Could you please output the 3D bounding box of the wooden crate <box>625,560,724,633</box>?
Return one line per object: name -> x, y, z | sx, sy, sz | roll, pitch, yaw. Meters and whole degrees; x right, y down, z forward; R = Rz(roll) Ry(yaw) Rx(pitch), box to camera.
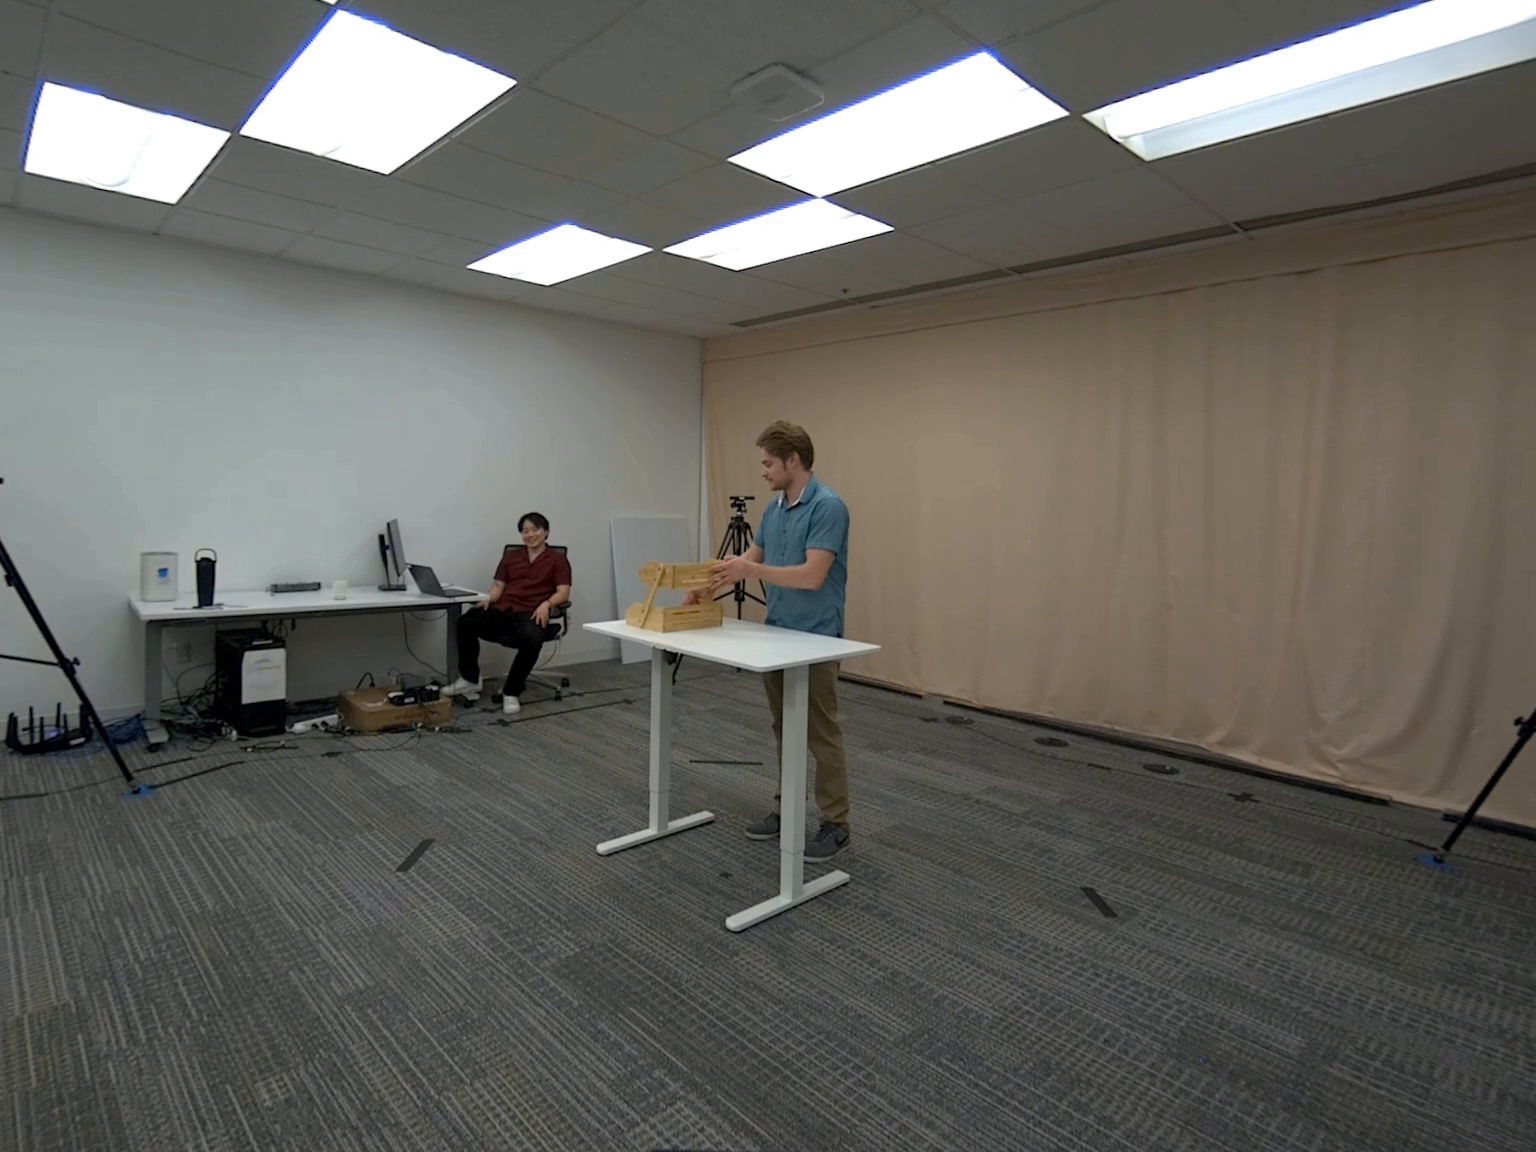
wooden crate -> -0.361, 0.065, 3.301 | 0.317, 0.272, 0.310 | -3, 7, -45
